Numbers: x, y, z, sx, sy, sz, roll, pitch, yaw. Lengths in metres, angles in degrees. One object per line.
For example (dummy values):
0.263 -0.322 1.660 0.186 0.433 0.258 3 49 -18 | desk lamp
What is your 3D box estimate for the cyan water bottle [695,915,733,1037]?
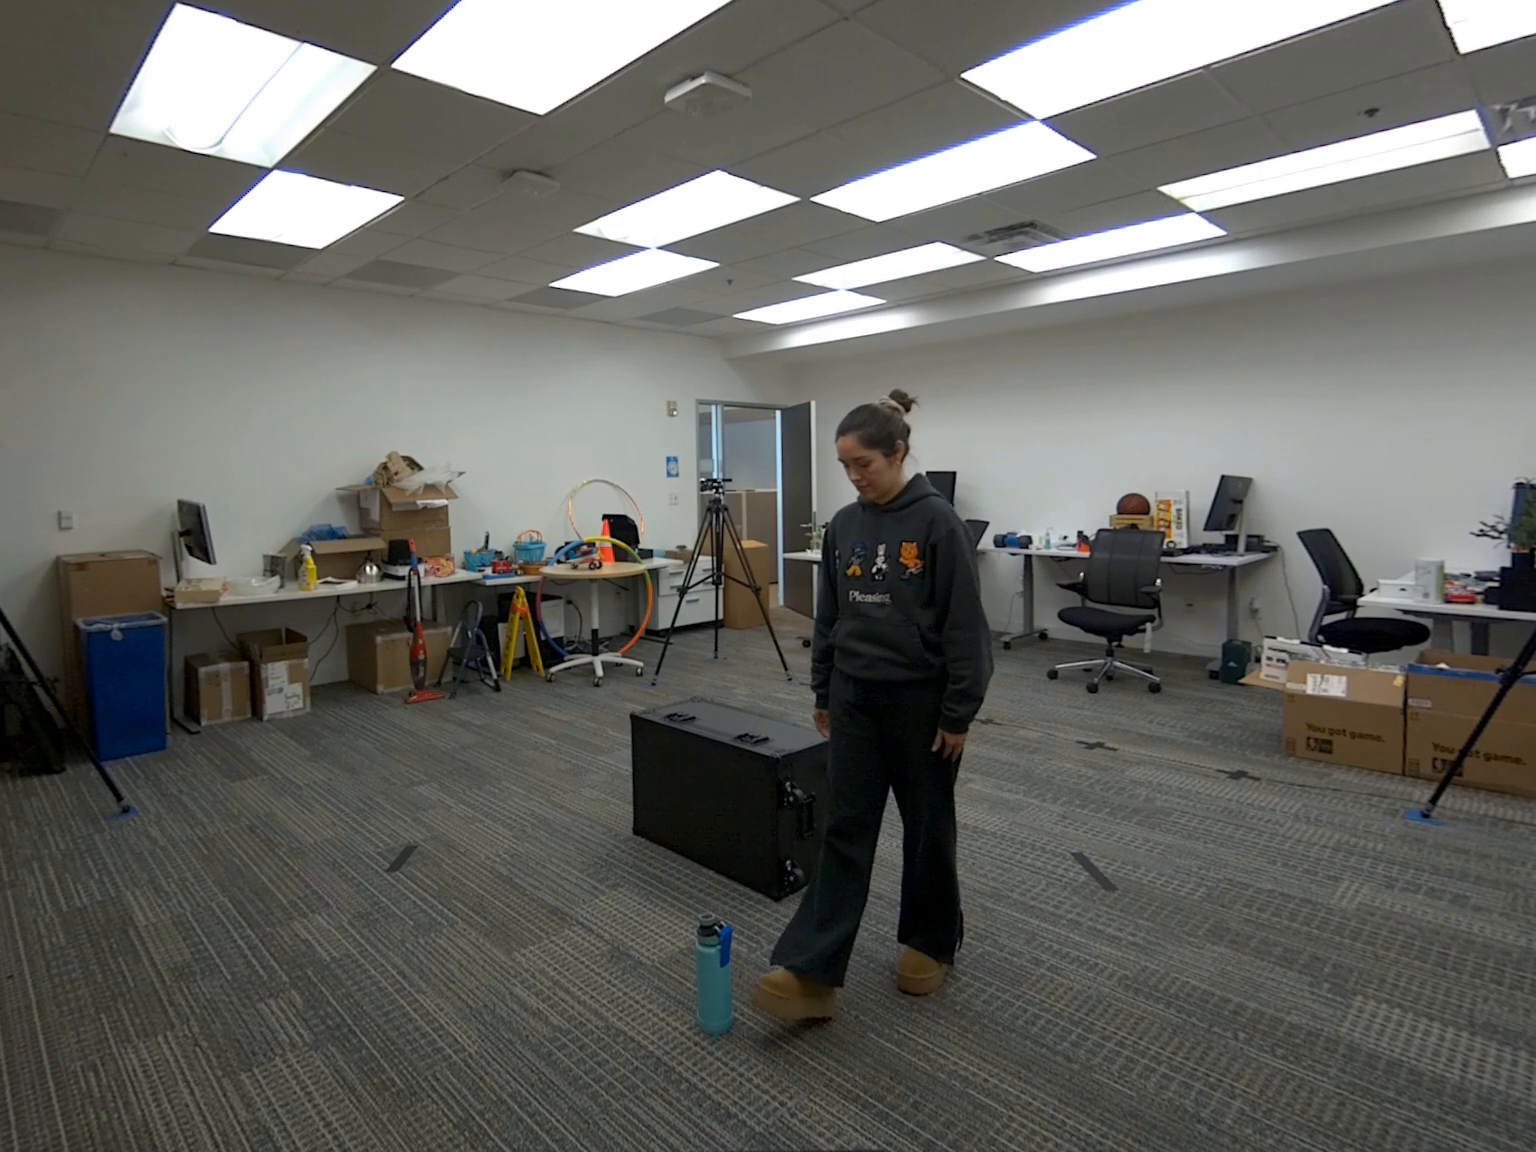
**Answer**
-0.128 1.025 2.178 0.092 0.282 0.093 0 5 -2 | cyan water bottle
